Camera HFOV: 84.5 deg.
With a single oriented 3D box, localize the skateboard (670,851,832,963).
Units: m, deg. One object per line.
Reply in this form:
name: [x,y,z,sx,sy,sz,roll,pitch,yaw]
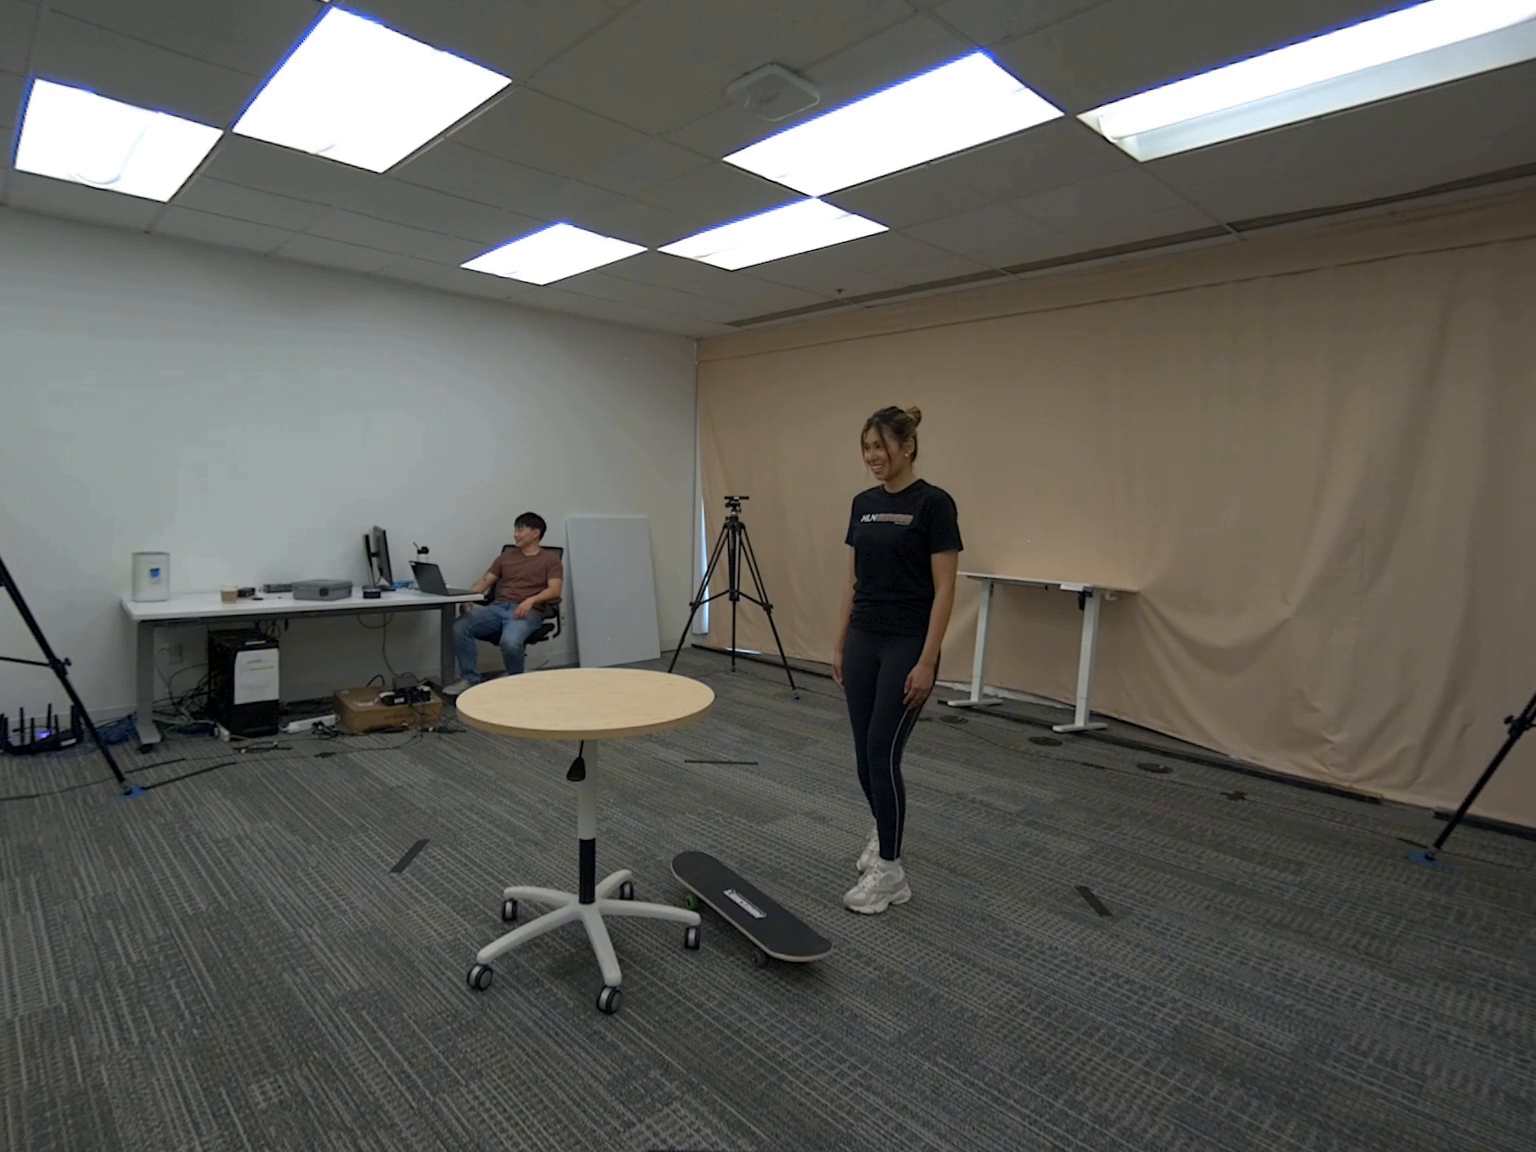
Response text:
skateboard: [-0.087,1.089,2.706,0.189,0.110,0.805,-2,6,-35]
